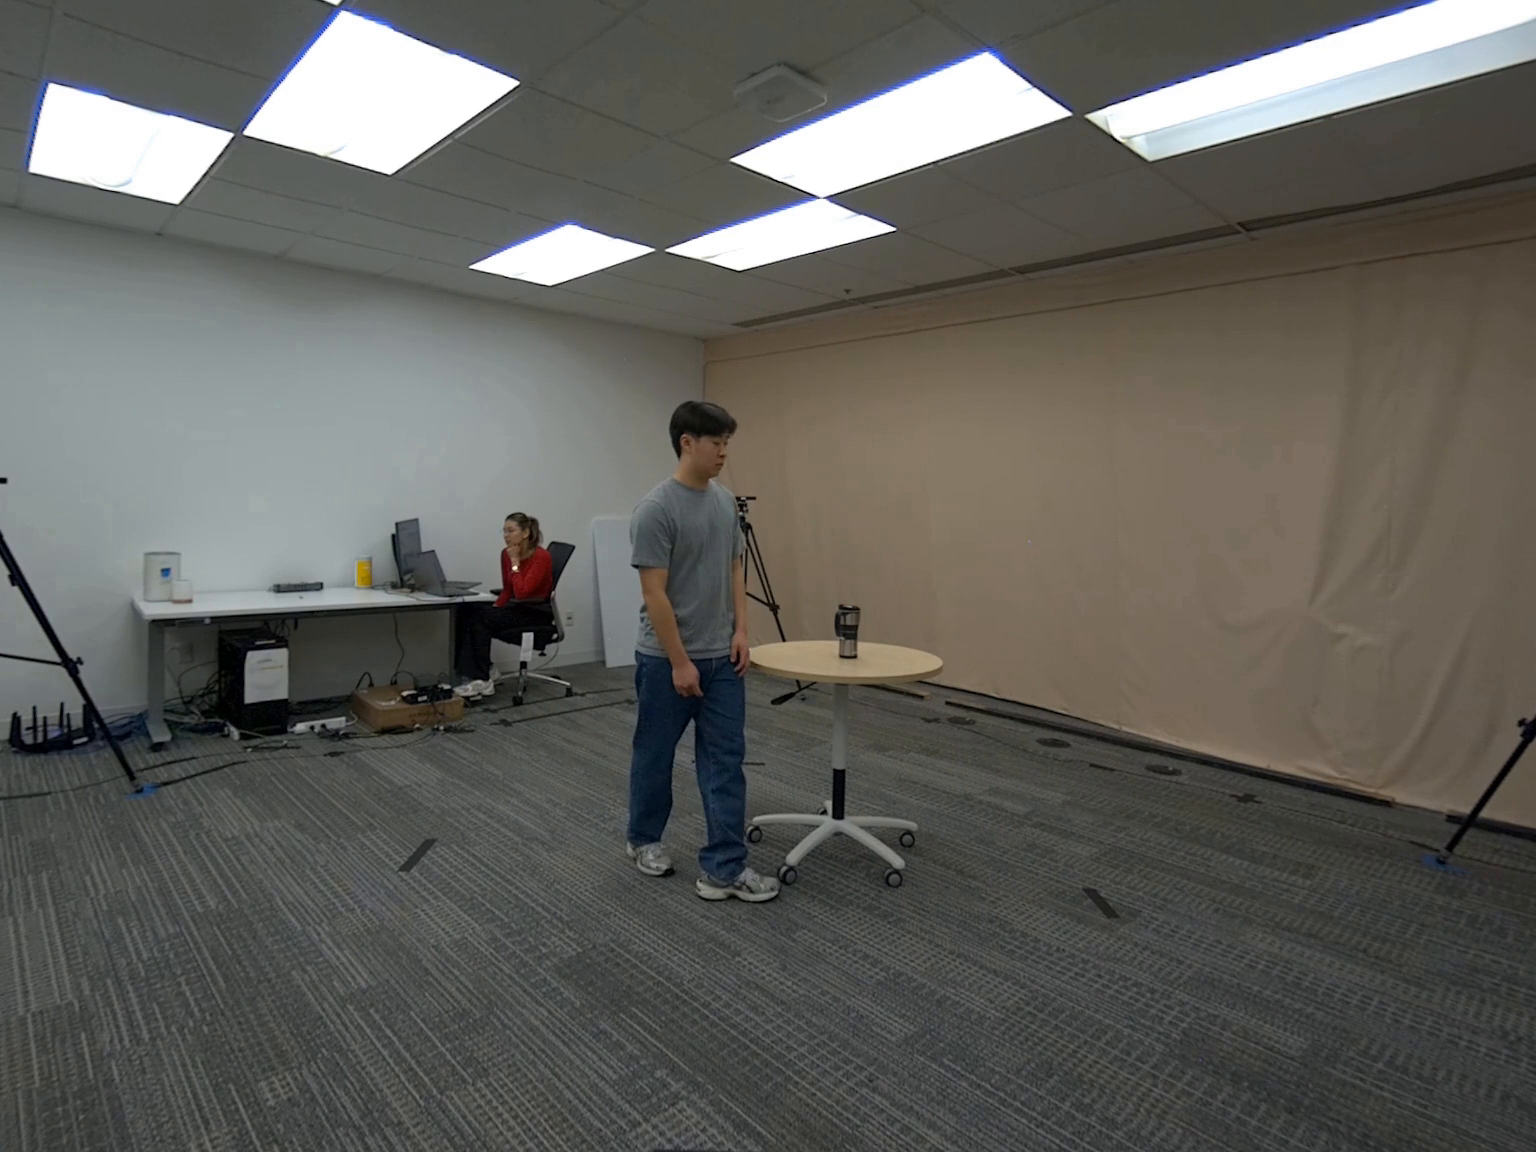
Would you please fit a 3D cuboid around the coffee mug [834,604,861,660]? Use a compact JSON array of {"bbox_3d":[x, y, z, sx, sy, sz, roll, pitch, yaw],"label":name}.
[{"bbox_3d":[0.296,0.217,3.274,0.120,0.202,0.089,6,6,-19],"label":"coffee mug"}]
